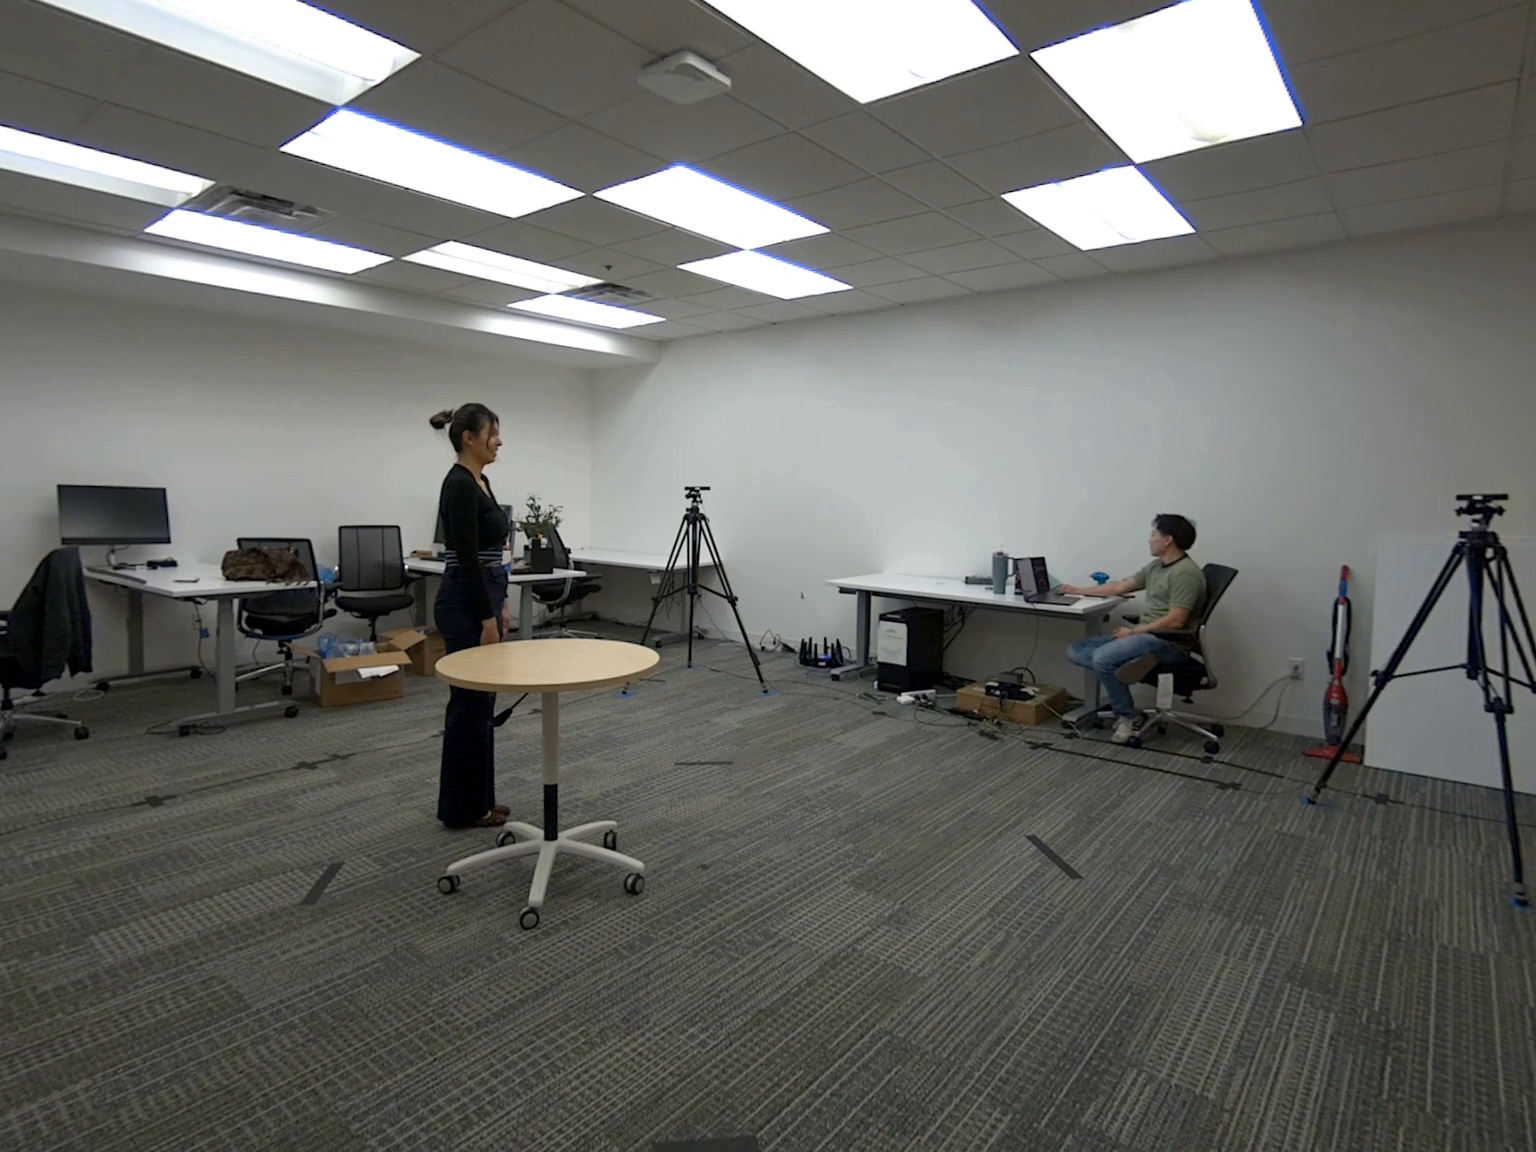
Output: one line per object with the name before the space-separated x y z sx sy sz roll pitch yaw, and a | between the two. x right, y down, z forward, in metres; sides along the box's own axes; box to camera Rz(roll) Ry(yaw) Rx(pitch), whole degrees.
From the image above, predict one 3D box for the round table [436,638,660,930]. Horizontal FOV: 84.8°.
round table | -0.776 0.680 2.999 0.763 0.791 0.768 0 4 -2
